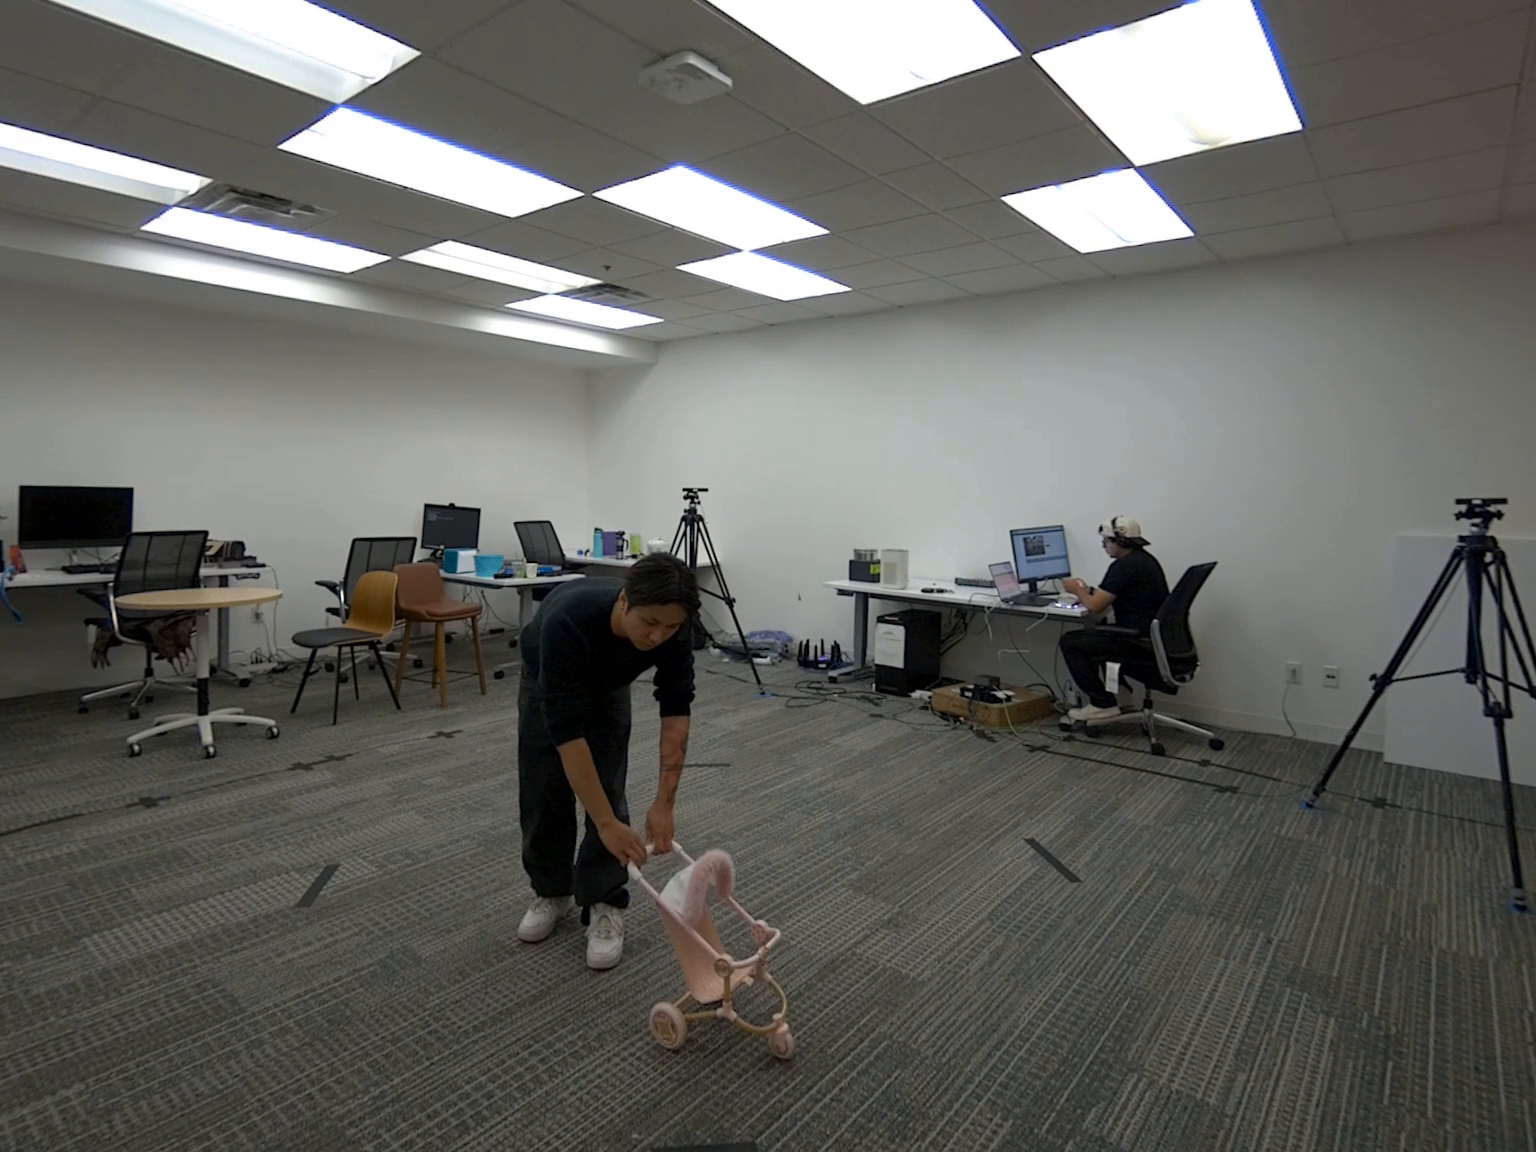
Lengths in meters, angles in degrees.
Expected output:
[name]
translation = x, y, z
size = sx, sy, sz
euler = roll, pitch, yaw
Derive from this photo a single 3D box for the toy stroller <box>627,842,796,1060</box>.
[toy stroller]
translation = -0.144, 0.941, 2.177
size = 0.348, 0.539, 0.274
euler = -17, -6, 33
